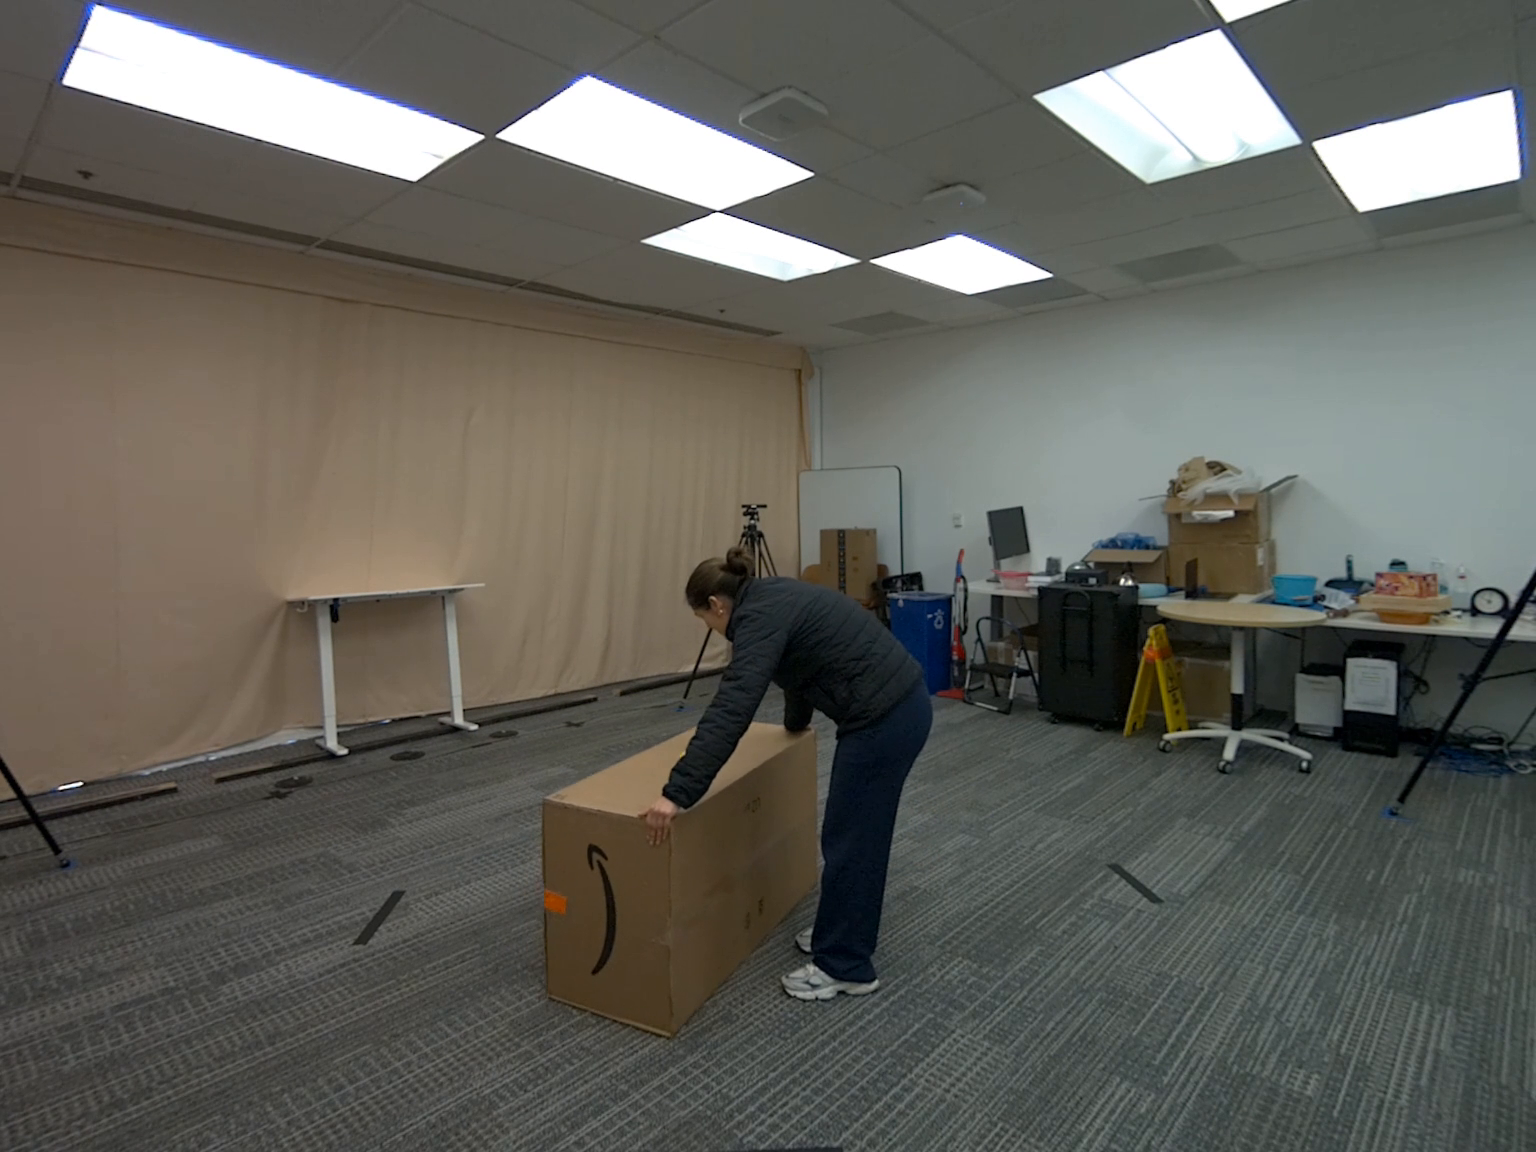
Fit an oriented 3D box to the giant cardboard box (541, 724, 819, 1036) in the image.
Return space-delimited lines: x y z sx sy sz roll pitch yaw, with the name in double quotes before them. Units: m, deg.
"giant cardboard box" -0.215 0.879 2.740 0.458 0.583 1.003 0 4 25
